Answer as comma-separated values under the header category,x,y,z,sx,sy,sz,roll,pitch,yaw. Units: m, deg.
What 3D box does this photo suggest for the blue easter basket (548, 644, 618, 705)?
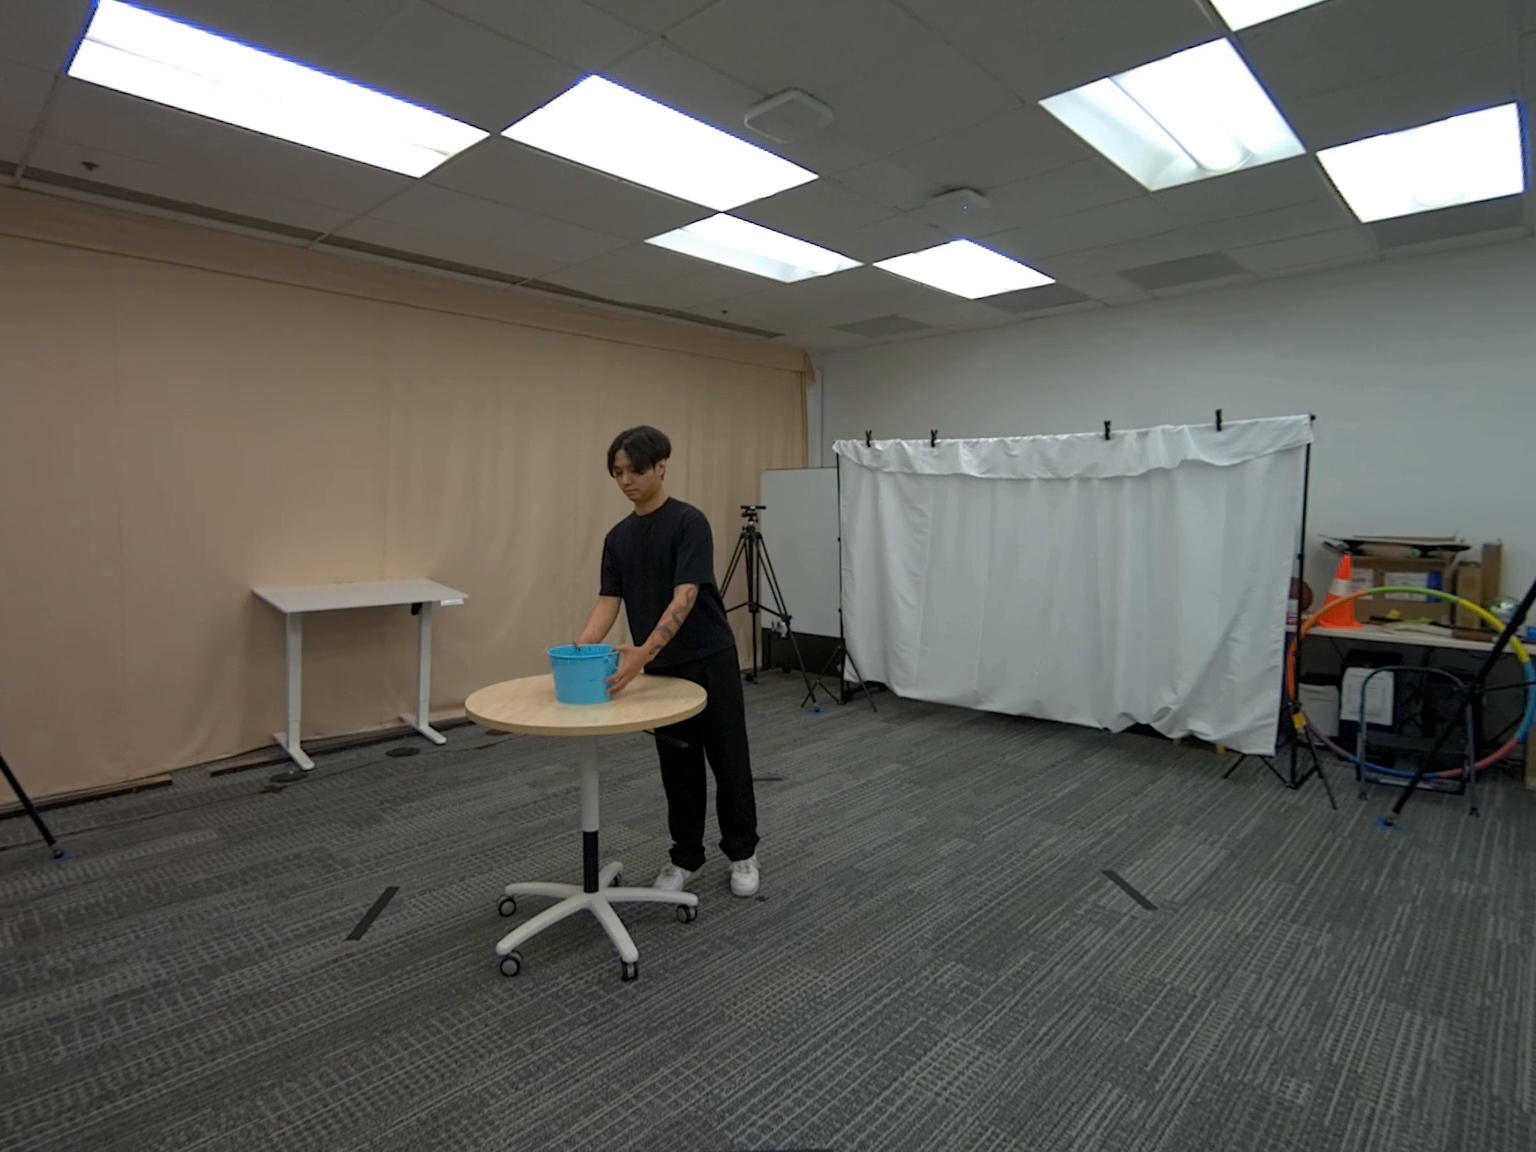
category,x,y,z,sx,sy,sz,roll,pitch,yaw
blue easter basket,-0.587,0.313,2.677,0.243,0.155,0.244,0,4,-2
